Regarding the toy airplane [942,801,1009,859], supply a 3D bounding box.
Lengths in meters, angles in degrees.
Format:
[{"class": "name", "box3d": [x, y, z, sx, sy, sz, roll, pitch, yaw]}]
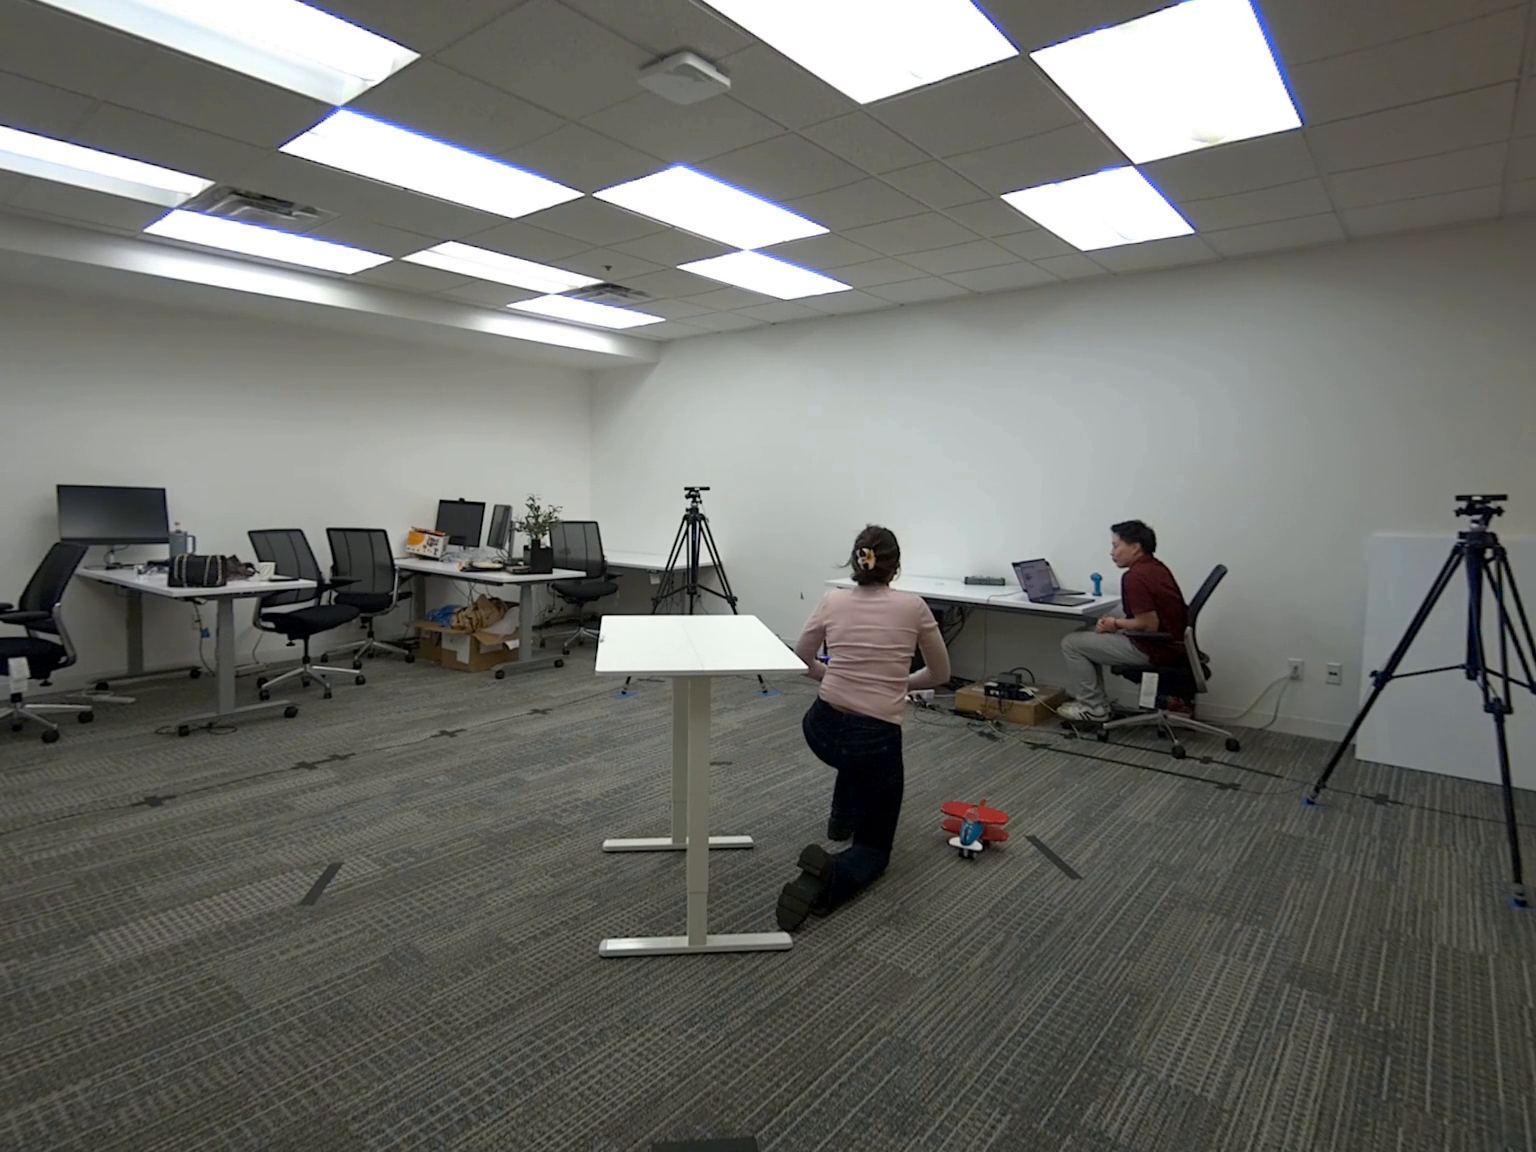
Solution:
[{"class": "toy airplane", "box3d": [0.819, 0.995, 3.329, 0.251, 0.156, 0.260, 2, 4, -2]}]
